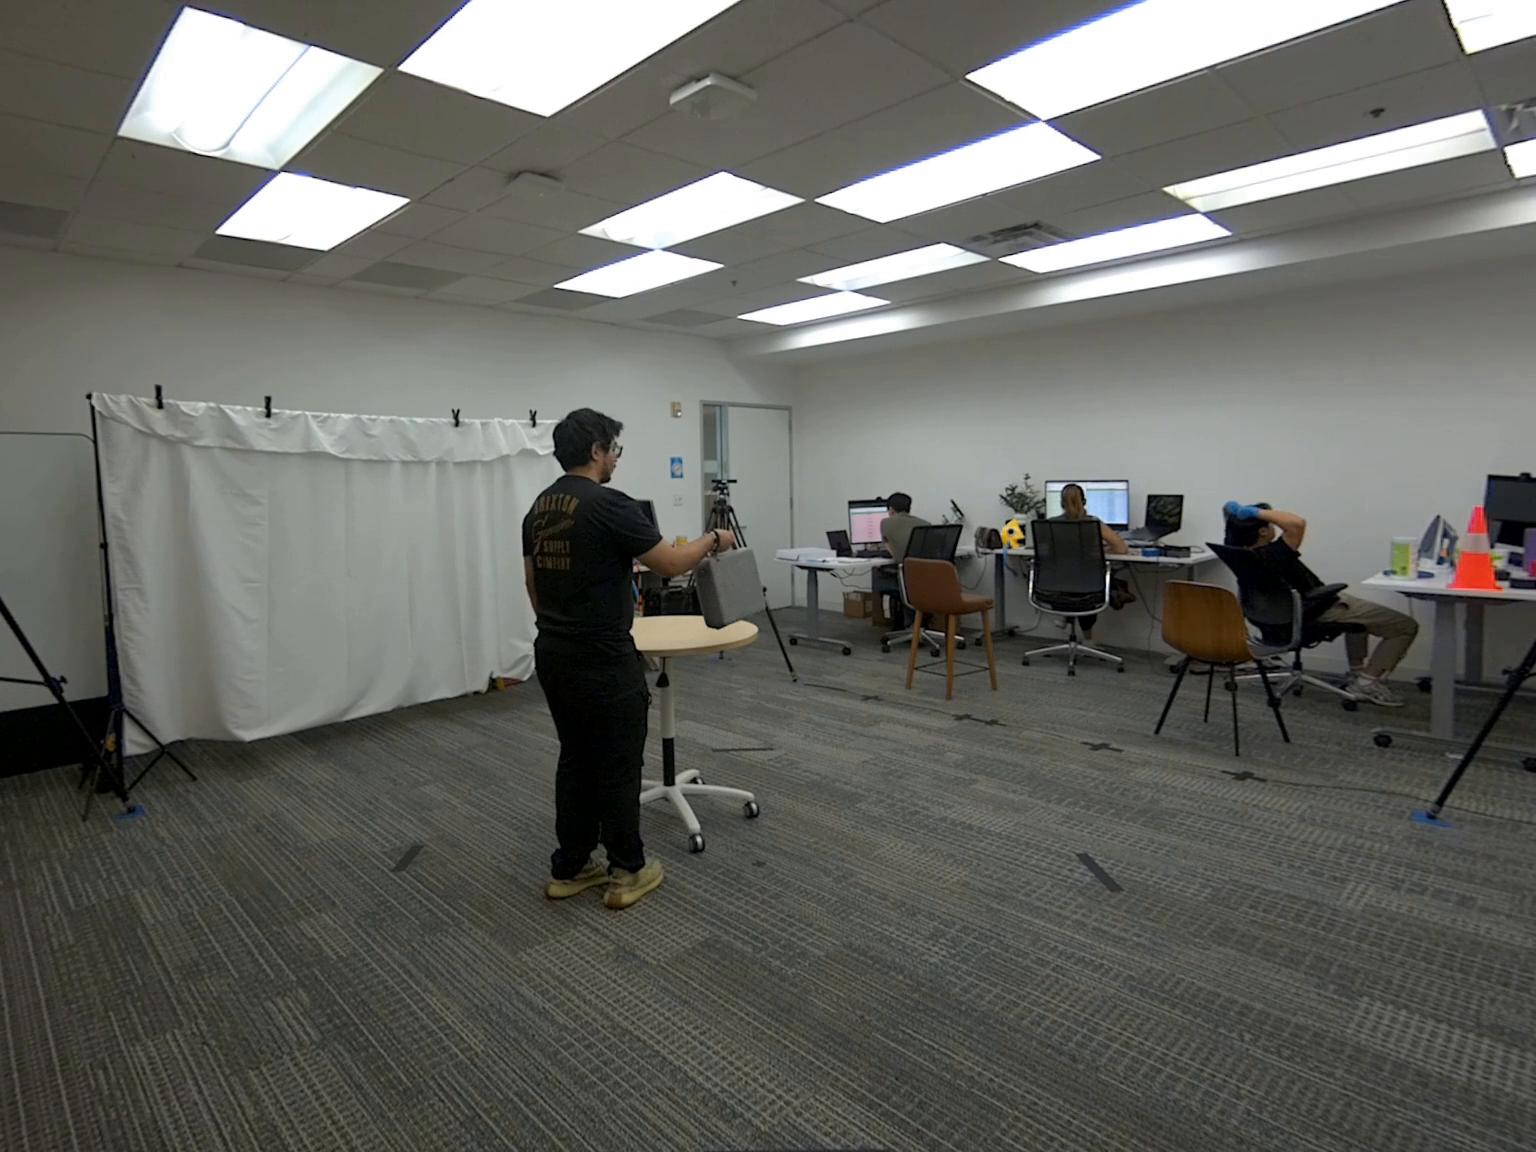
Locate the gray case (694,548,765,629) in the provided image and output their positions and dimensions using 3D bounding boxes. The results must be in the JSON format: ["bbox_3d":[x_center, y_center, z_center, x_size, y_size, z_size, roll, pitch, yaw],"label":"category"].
[{"bbox_3d":[-0.138,0.038,3.096,0.107,0.259,0.252,-7,8,43],"label":"gray case"}]
